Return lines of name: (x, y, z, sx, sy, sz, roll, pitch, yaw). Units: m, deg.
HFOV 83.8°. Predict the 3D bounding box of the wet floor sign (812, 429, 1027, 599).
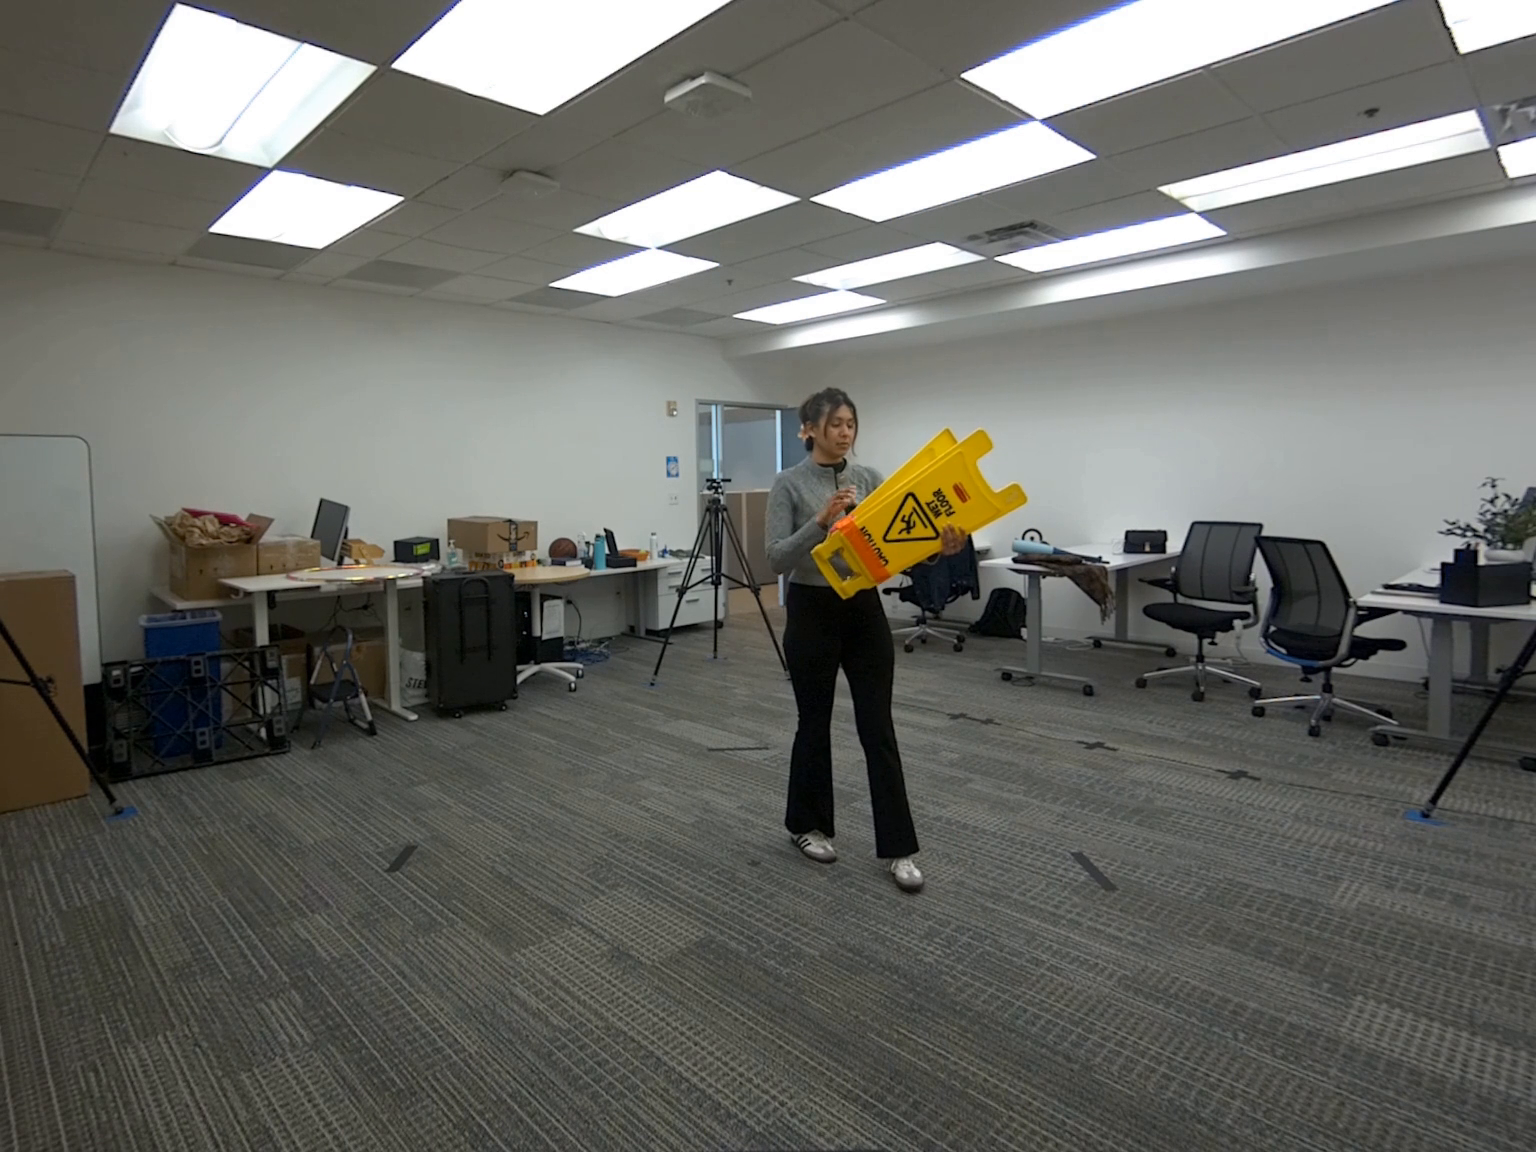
wet floor sign: (0.456, -0.185, 2.774, 0.646, 0.279, 0.294, -36, 11, -2)
